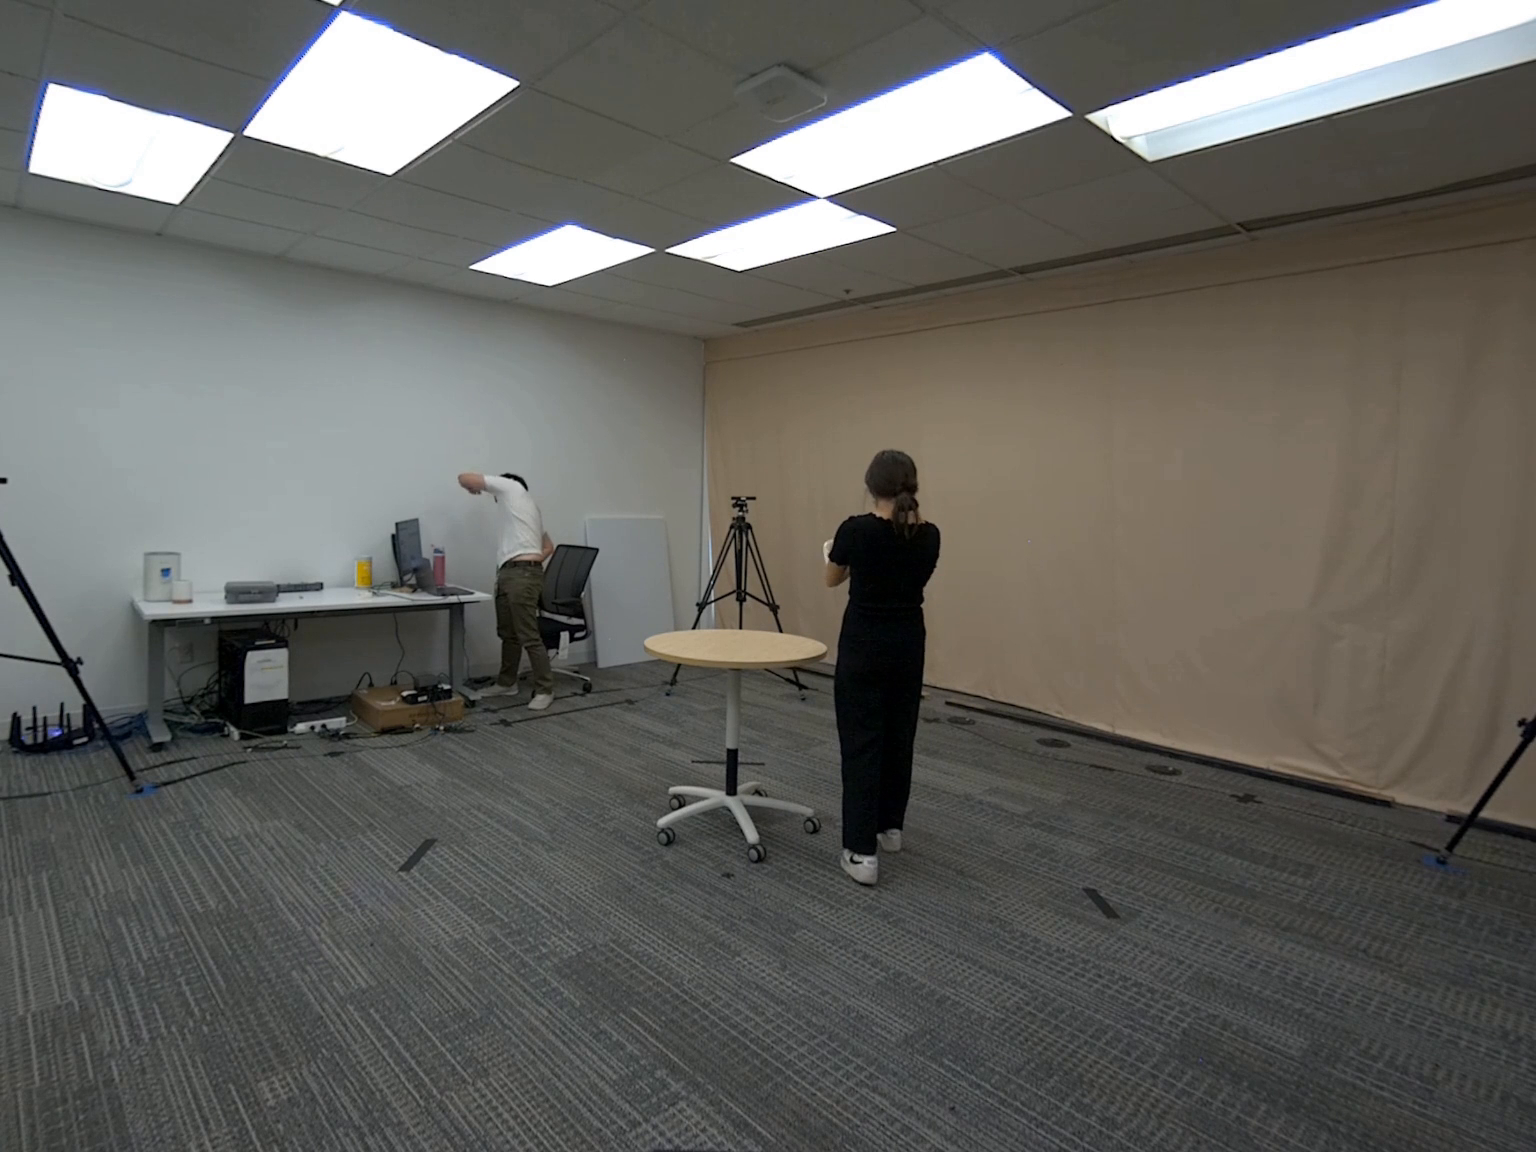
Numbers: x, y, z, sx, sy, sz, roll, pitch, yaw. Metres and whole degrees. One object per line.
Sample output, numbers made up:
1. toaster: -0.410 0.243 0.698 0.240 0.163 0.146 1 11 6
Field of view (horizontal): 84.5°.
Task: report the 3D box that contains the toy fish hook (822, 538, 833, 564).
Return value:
1. toy fish hook: 0.385 -0.136 3.754 0.225 0.048 0.508 34 38 0
